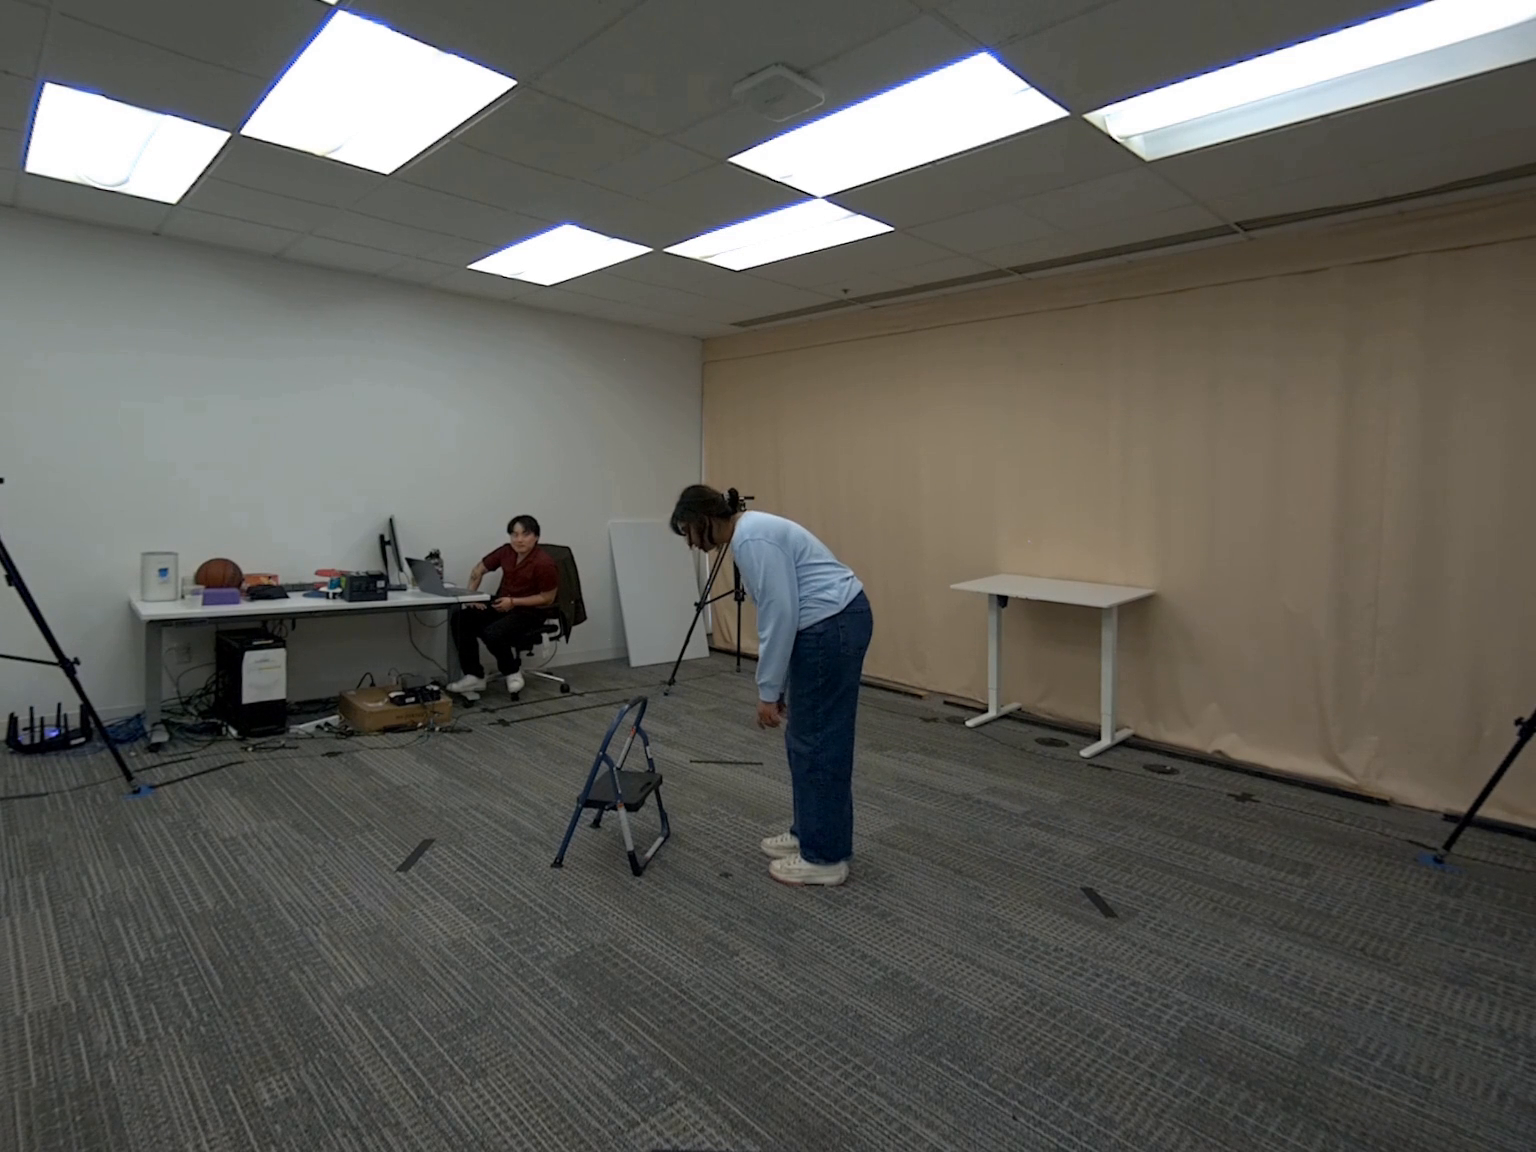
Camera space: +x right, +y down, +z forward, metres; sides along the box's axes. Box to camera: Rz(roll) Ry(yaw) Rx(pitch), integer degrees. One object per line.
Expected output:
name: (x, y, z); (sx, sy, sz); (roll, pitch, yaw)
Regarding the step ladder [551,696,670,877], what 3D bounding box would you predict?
step ladder: (-0.600, 0.770, 3.290); (0.352, 0.604, 0.428); (2, 4, 10)
